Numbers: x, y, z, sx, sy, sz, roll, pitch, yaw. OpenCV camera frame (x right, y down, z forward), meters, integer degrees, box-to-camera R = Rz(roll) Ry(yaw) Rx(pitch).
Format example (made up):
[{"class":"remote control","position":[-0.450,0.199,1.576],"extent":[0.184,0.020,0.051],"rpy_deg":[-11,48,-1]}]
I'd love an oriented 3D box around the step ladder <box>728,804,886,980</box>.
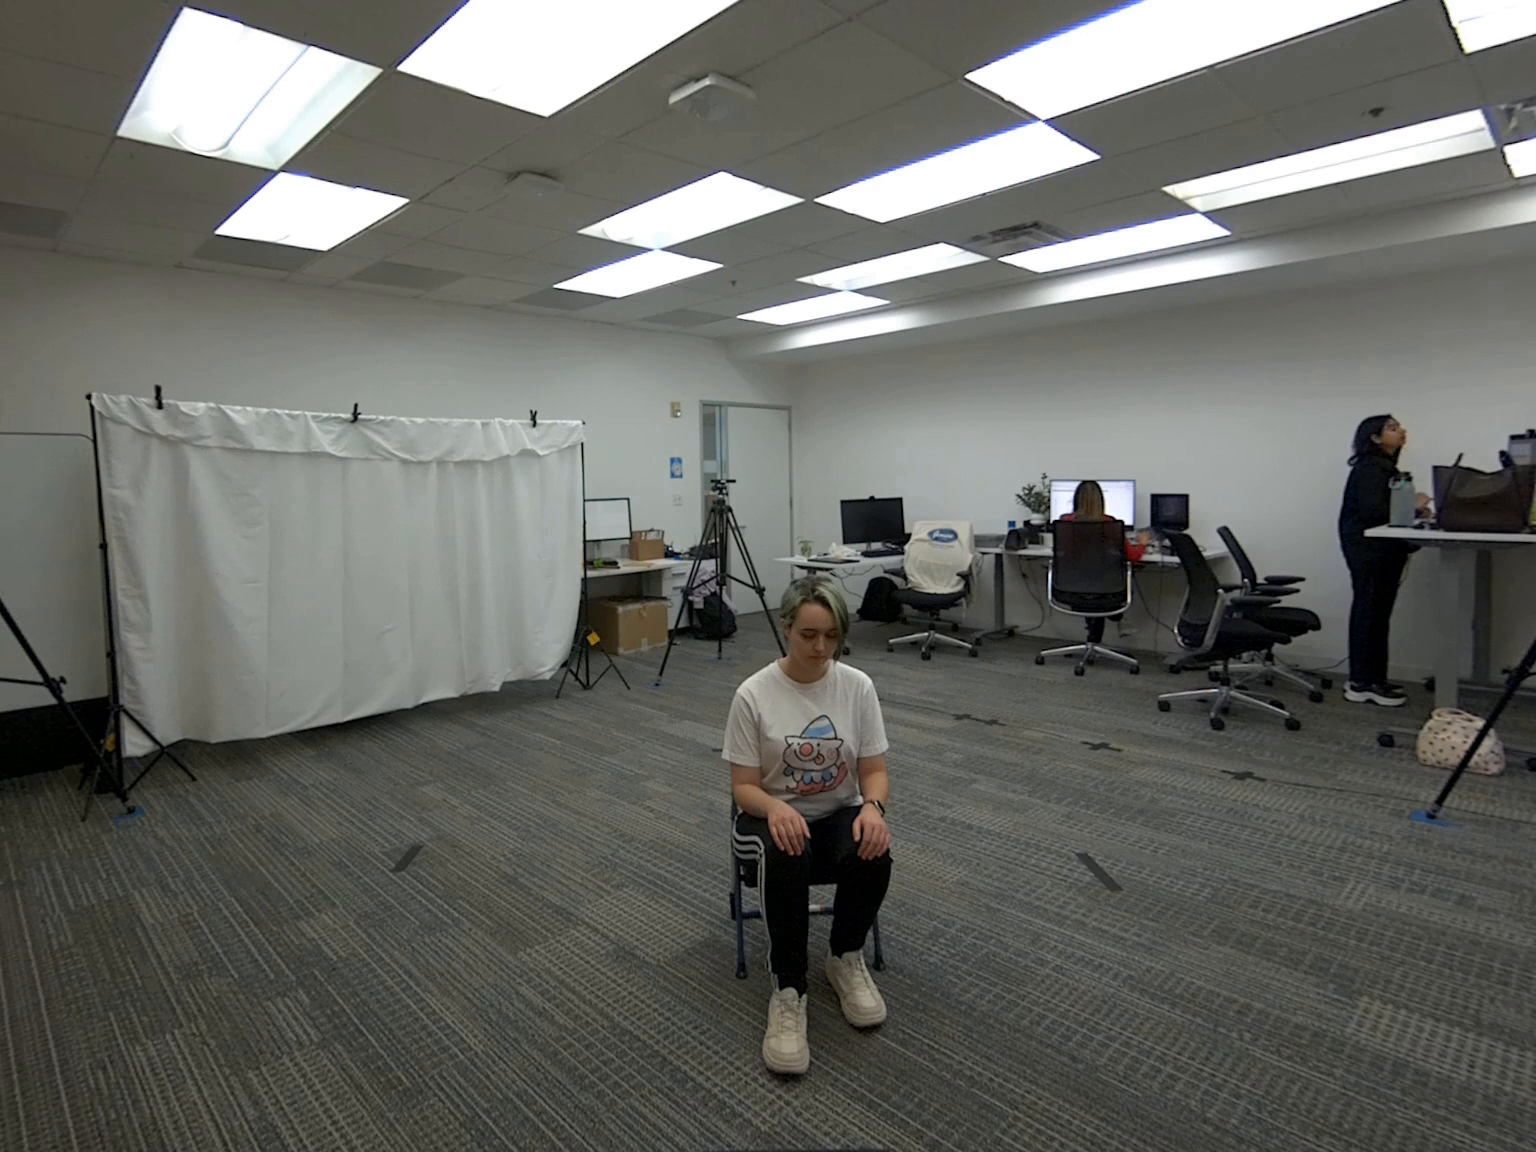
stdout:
[{"class":"step ladder","position":[0.108,0.812,2.567],"extent":[0.429,0.603,0.353],"rpy_deg":[-1,6,-5]}]
